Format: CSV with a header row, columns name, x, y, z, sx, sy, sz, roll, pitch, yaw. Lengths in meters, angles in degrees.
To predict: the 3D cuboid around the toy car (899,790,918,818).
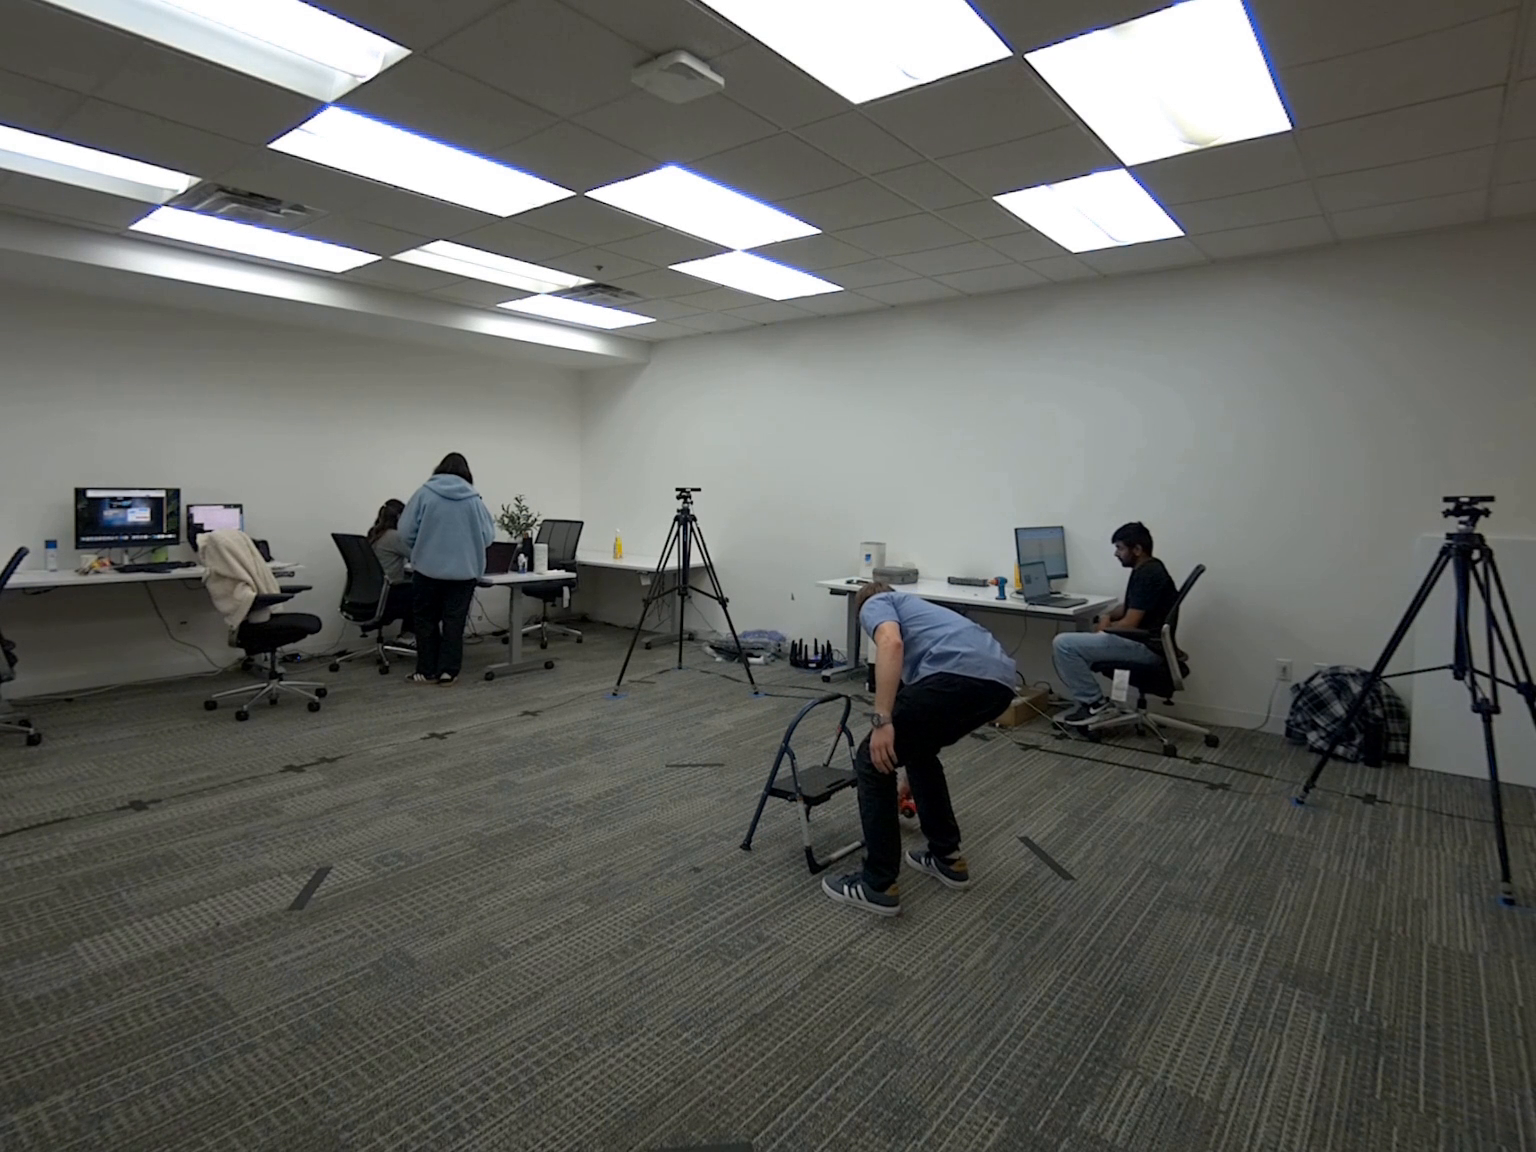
name,x,y,z,sx,sy,sz,roll,pitch,yaw
toy car,0.561,0.953,3.522,0.126,0.084,0.258,-2,-17,-46
